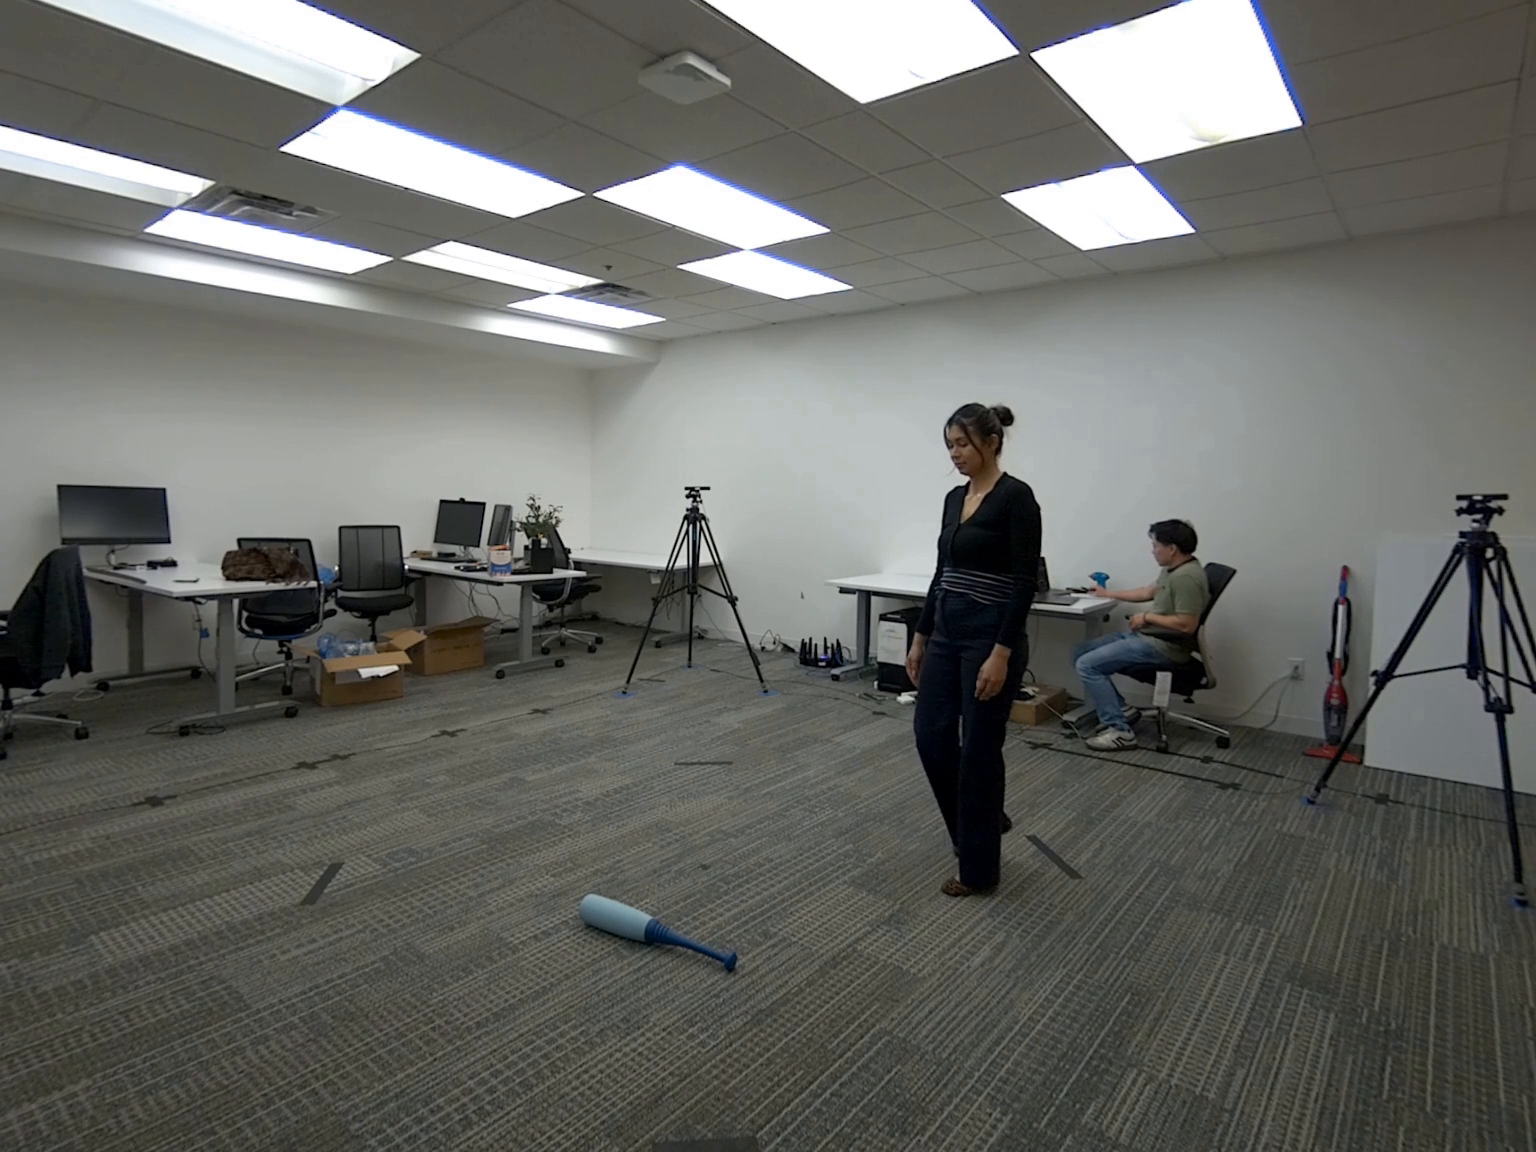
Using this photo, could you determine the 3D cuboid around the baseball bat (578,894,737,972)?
[{"bbox_3d":[-0.353,1.082,2.573,0.559,0.088,0.087,7,6,27],"label":"baseball bat"}]
